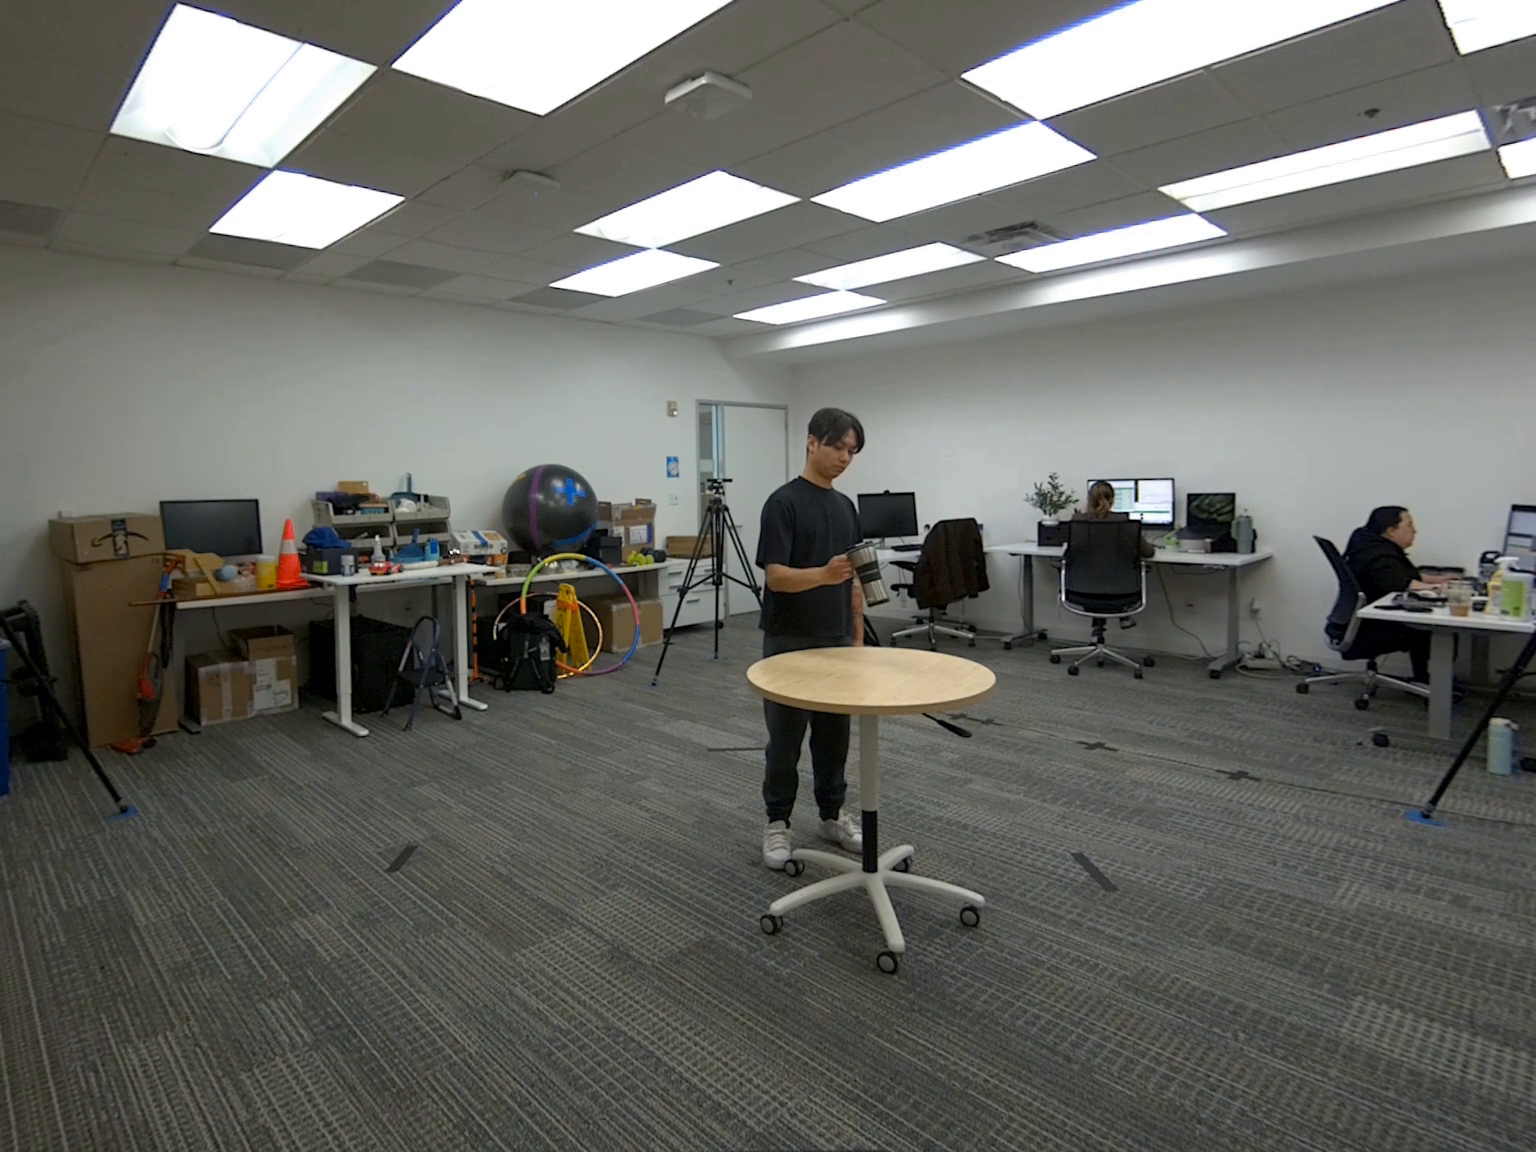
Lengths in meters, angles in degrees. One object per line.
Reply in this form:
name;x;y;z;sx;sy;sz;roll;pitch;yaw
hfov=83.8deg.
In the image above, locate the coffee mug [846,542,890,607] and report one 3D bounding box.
coffee mug;0.328;0.011;2.696;0.089;0.205;0.119;-26;-13;36
